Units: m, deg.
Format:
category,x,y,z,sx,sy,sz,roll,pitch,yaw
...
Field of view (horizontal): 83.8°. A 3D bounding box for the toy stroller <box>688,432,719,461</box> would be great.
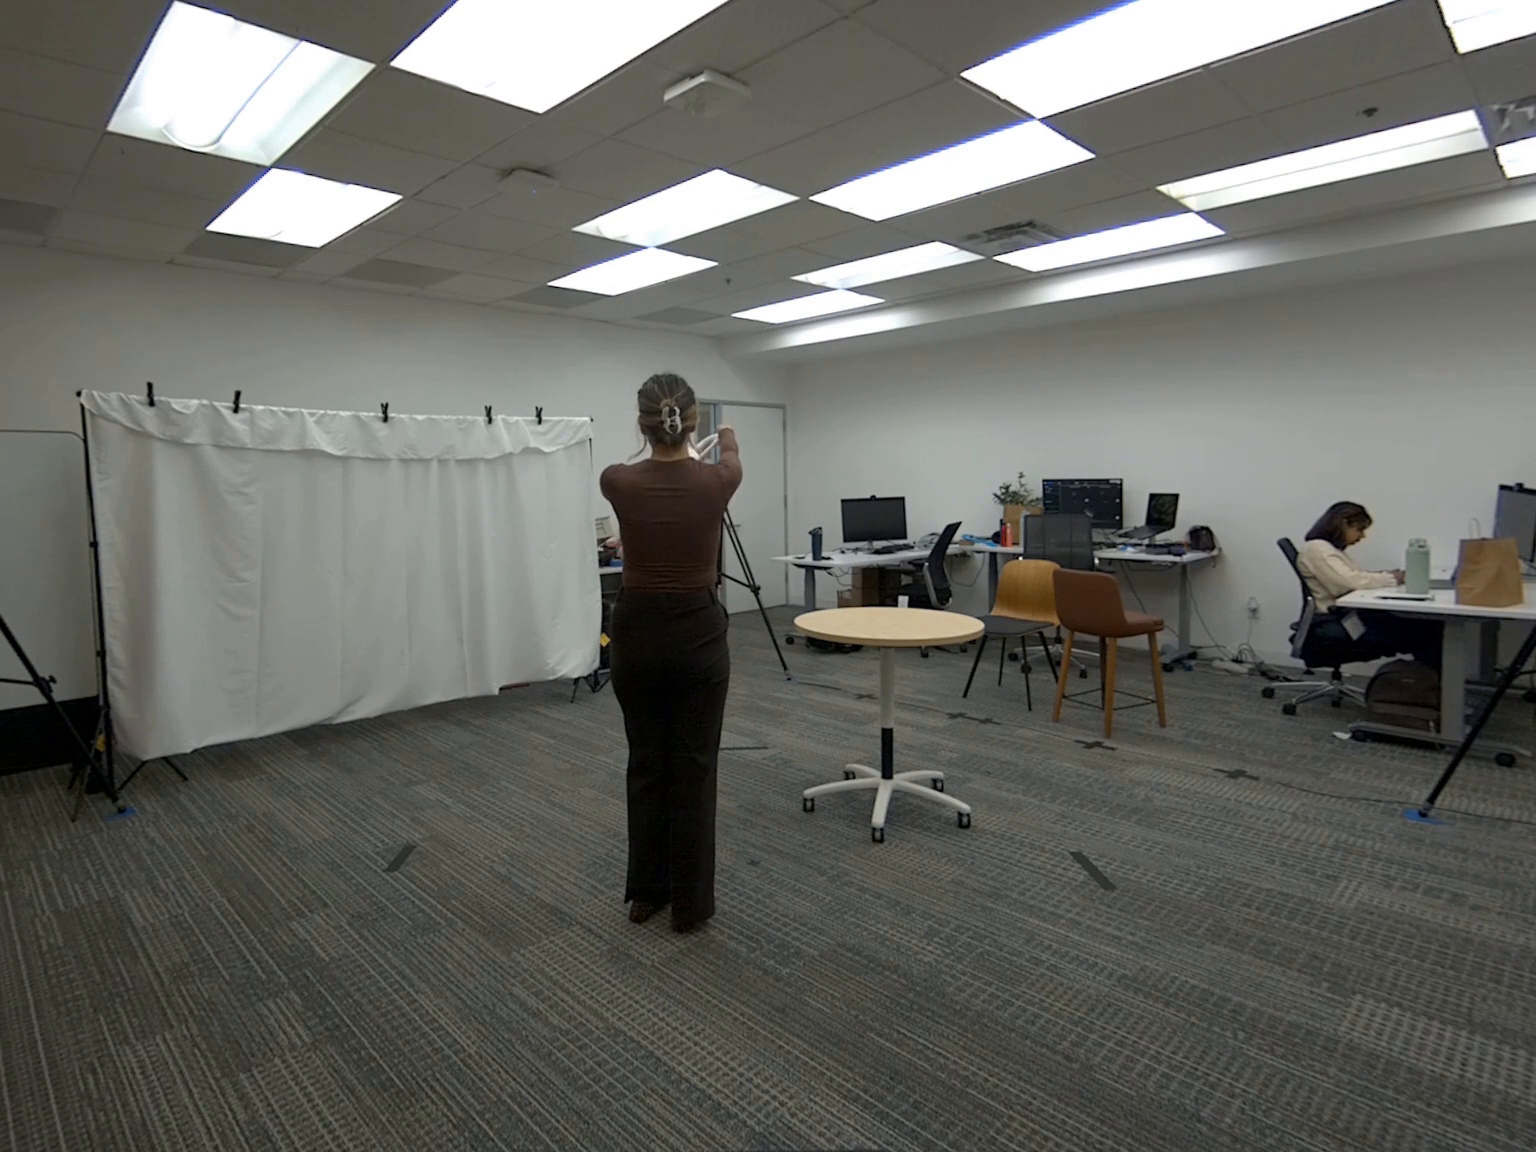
category,x,y,z,sx,sy,sz,roll,pitch,yaw
toy stroller,-0.384,-0.298,3.266,0.334,0.535,0.287,8,0,-20
